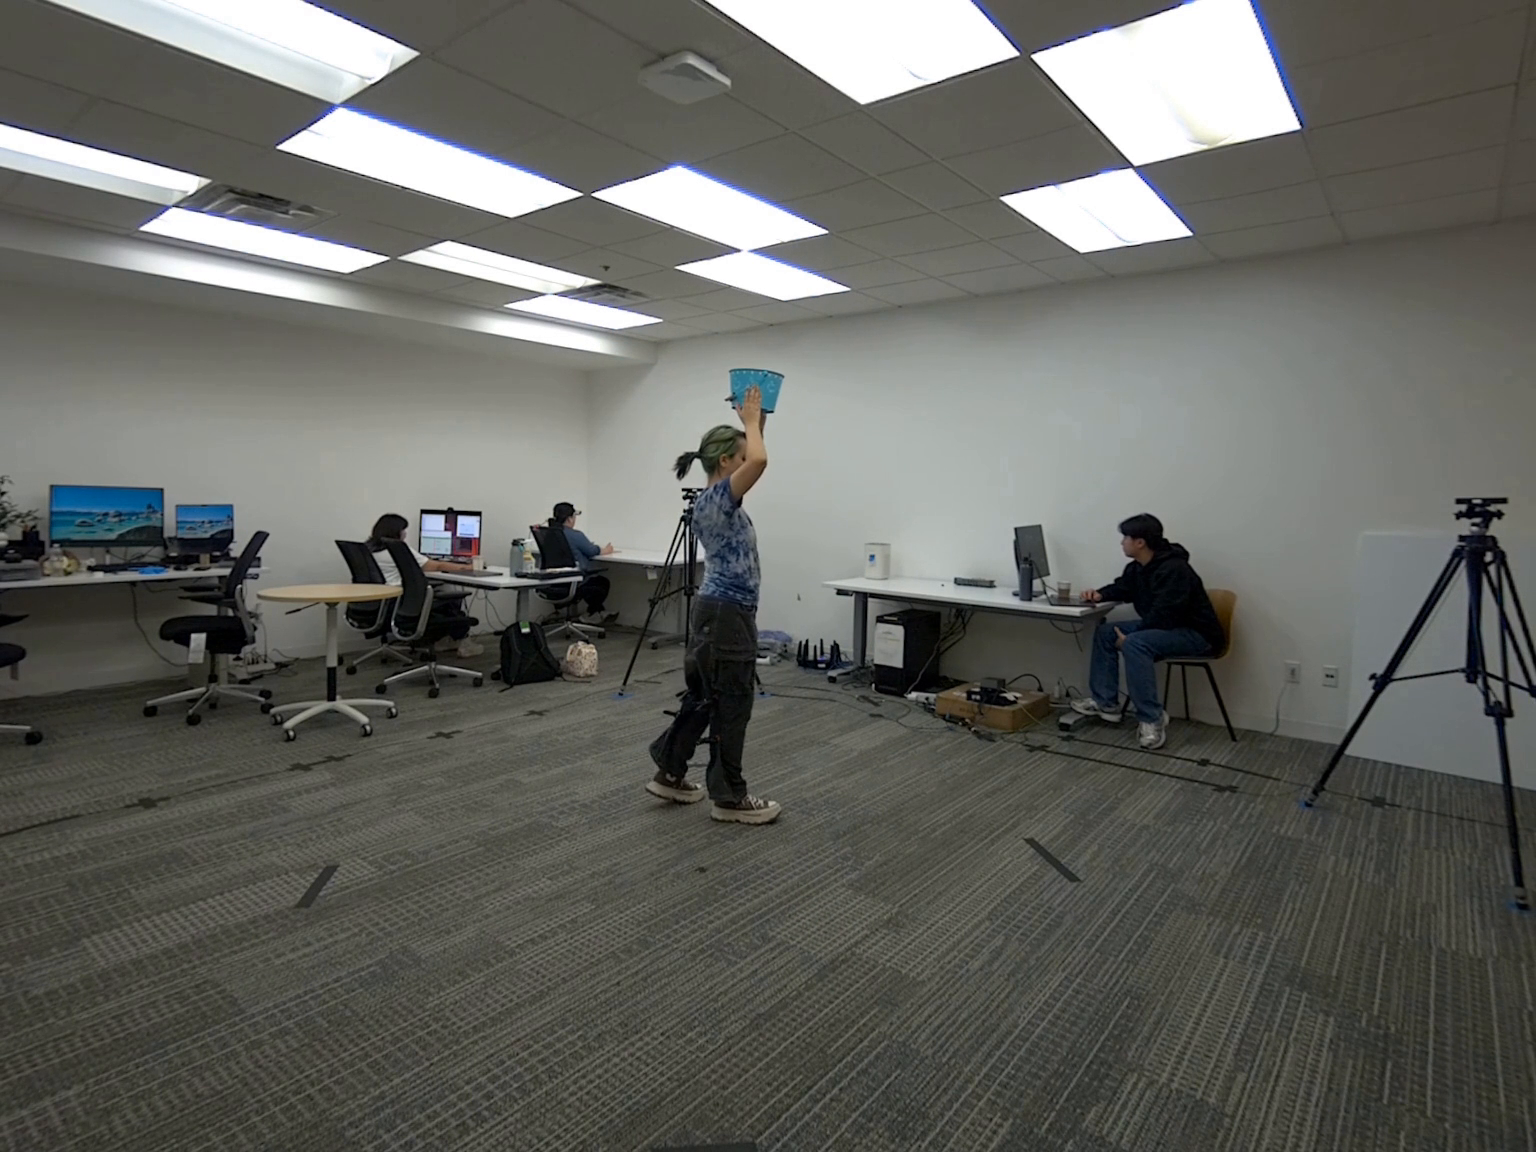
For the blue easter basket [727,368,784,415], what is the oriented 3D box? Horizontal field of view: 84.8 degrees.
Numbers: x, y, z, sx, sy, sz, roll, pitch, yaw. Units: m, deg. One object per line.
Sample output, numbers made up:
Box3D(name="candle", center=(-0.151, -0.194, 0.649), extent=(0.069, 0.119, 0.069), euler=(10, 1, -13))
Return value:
Box3D(name="blue easter basket", center=(-0.068, -0.776, 3.569), extent=(0.243, 0.155, 0.244), euler=(9, 3, -2))
